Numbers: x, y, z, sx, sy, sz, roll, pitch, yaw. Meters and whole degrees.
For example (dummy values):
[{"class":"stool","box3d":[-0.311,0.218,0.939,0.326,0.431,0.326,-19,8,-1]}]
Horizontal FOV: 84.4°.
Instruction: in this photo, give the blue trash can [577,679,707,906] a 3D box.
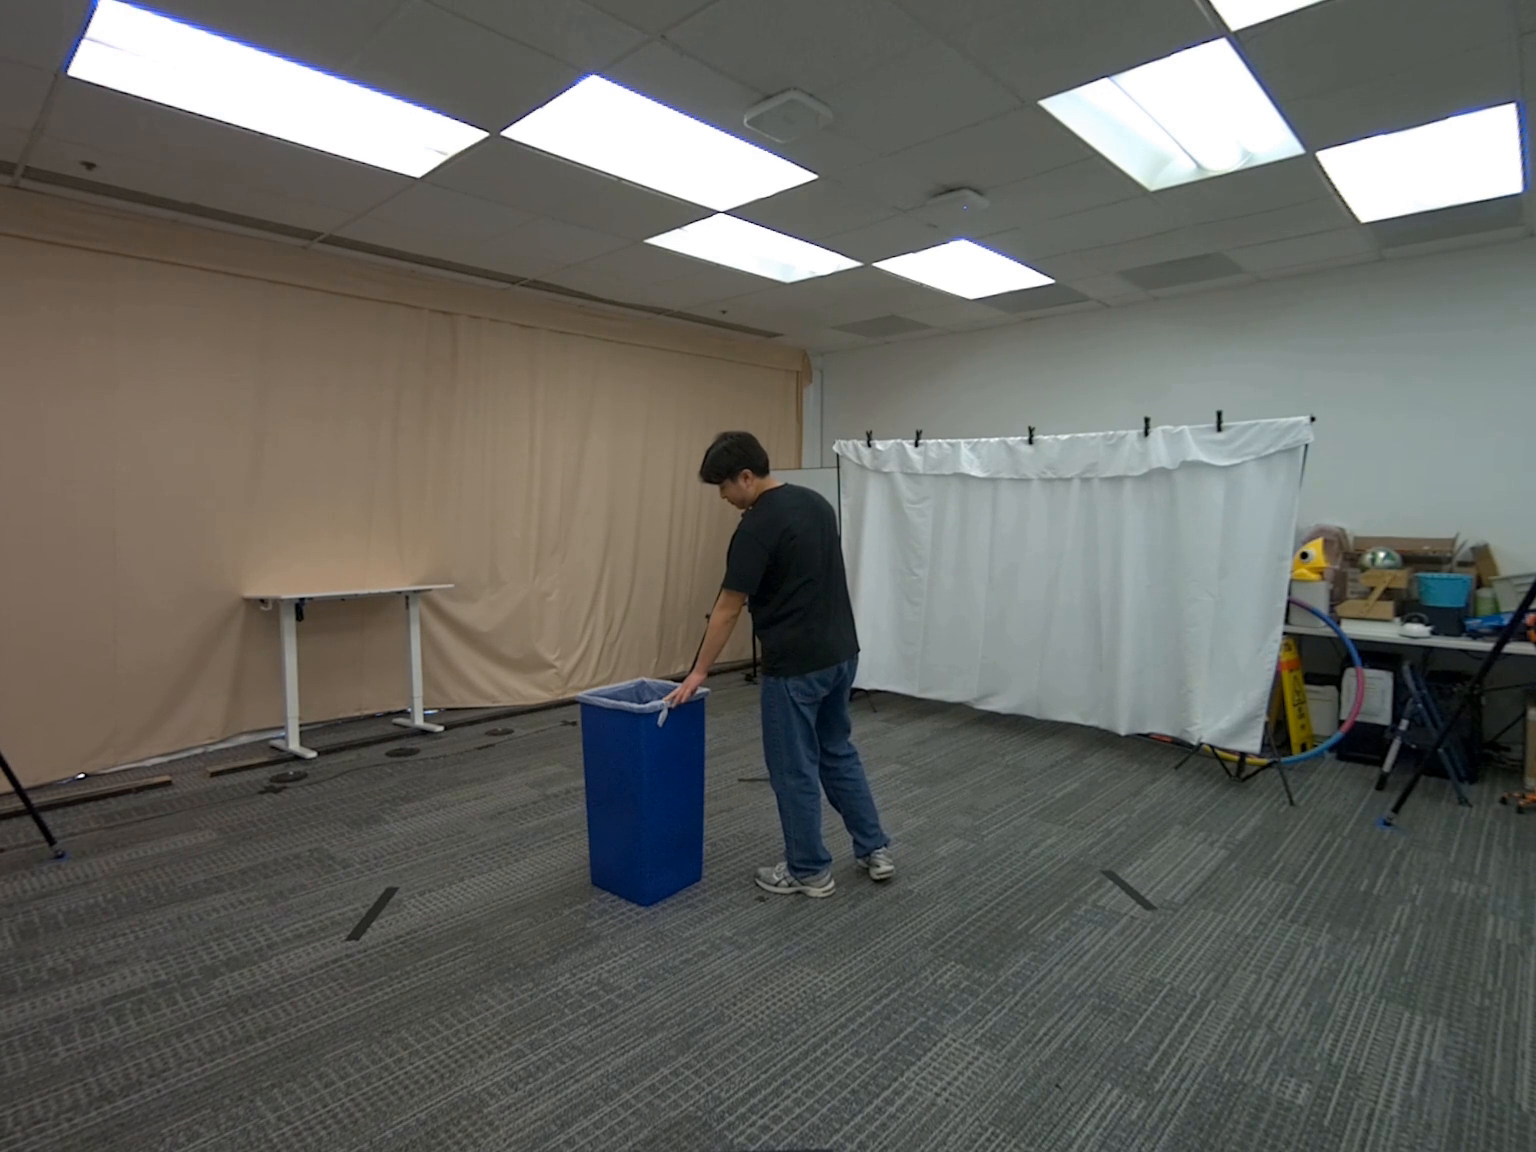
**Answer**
[{"class":"blue trash can","box3d":[-0.463,0.782,3.118,0.386,0.712,0.367,2,3,38]}]
